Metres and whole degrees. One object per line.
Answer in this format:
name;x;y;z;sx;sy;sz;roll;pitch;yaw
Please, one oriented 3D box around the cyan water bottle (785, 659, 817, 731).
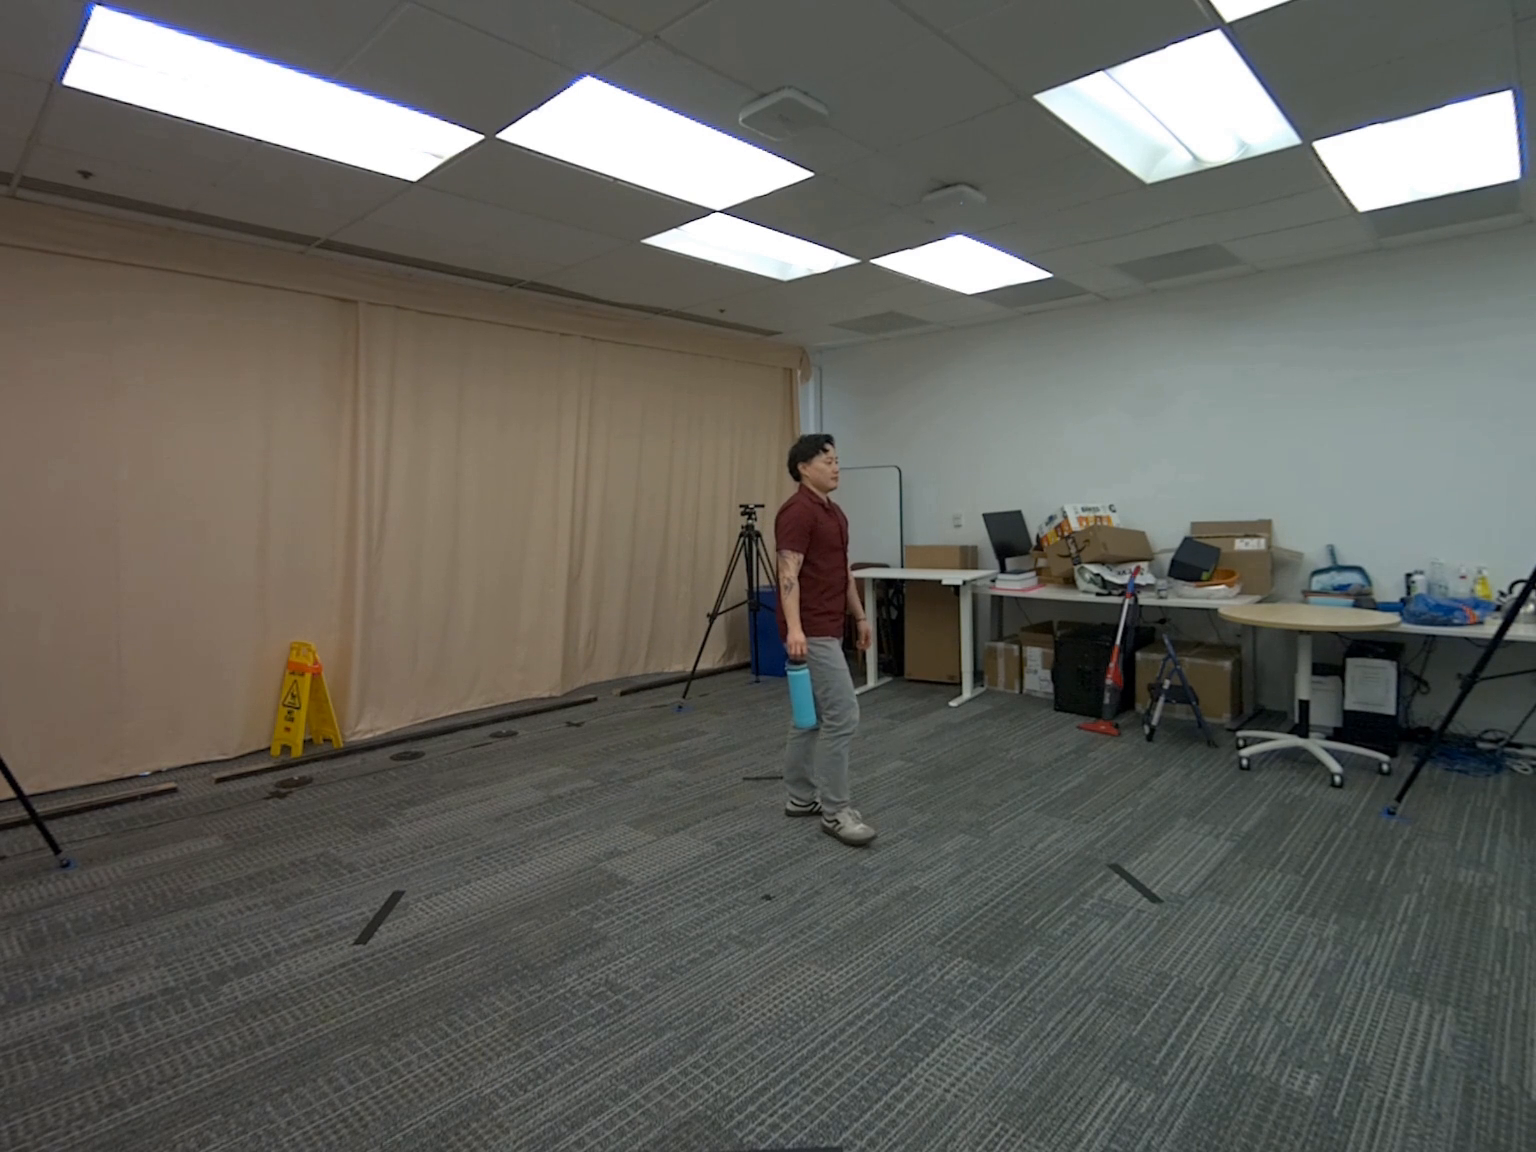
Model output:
cyan water bottle;0.135;0.460;3.378;0.092;0.282;0.093;-6;7;-1
